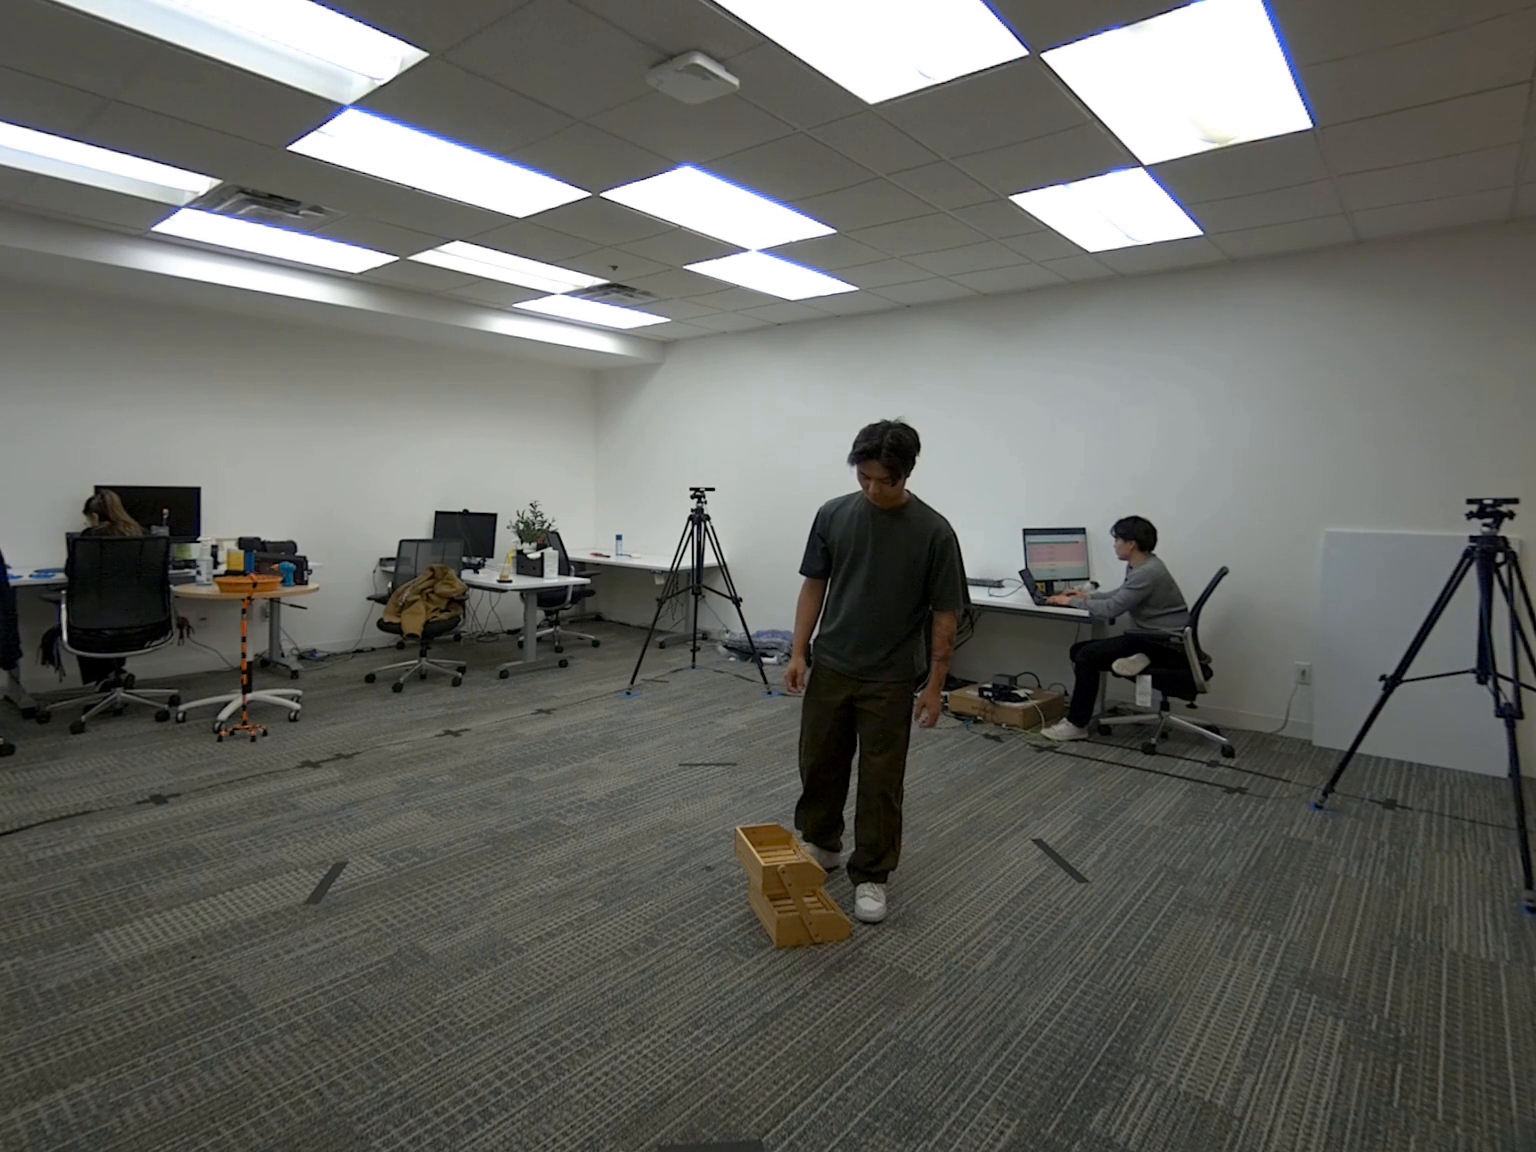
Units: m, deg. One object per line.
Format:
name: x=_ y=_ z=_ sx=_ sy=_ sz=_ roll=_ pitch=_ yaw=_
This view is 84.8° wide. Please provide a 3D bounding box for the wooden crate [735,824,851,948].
wooden crate: x=0.073 y=0.973 z=2.740 sx=0.297 sy=0.272 sz=0.331 roll=0 pitch=5 yaw=-16
